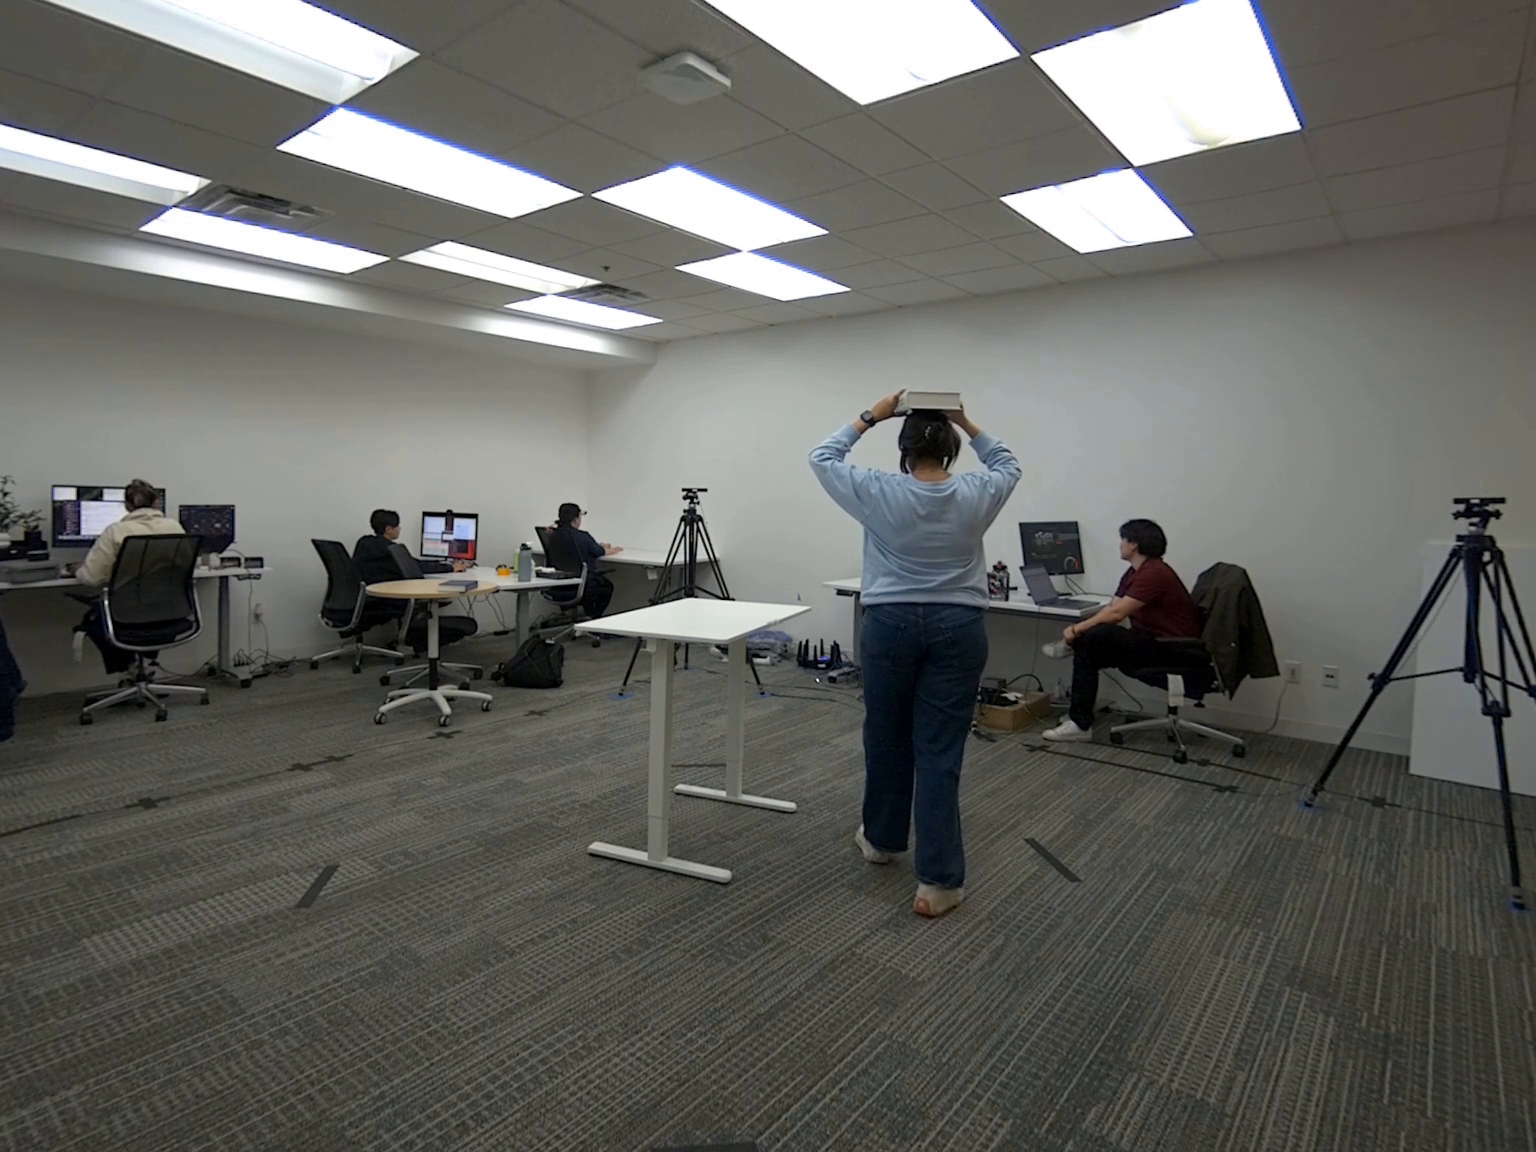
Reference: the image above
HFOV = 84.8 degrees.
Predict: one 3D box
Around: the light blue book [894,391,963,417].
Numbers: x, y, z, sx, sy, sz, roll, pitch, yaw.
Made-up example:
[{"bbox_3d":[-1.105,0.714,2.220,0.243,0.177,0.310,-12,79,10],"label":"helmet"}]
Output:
[{"bbox_3d":[0.566,-0.619,3.034,0.190,0.059,0.263,1,4,-7],"label":"light blue book"}]
